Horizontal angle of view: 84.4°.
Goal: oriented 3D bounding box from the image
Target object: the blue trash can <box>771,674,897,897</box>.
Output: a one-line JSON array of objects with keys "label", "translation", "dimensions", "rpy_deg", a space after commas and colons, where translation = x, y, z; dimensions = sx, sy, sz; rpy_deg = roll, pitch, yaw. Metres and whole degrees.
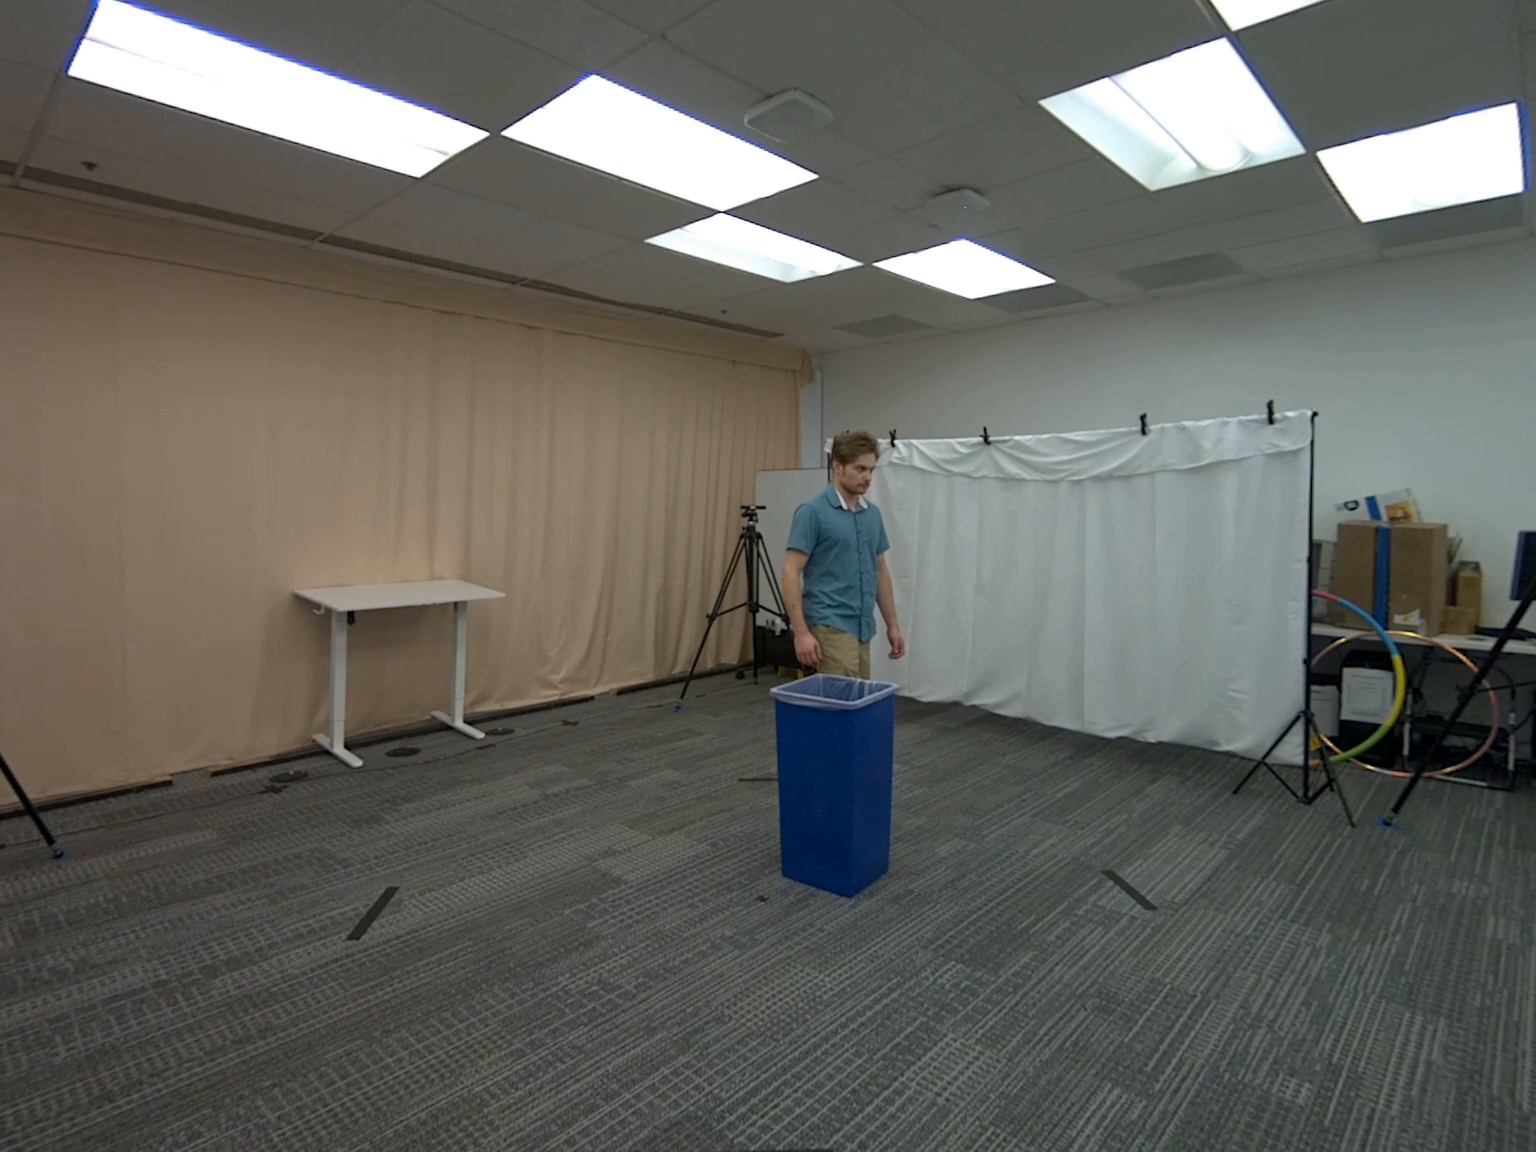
[{"label": "blue trash can", "translation": [0.250, 0.769, 3.156], "dimensions": [0.390, 0.712, 0.363], "rpy_deg": [2, 3, 36]}]
